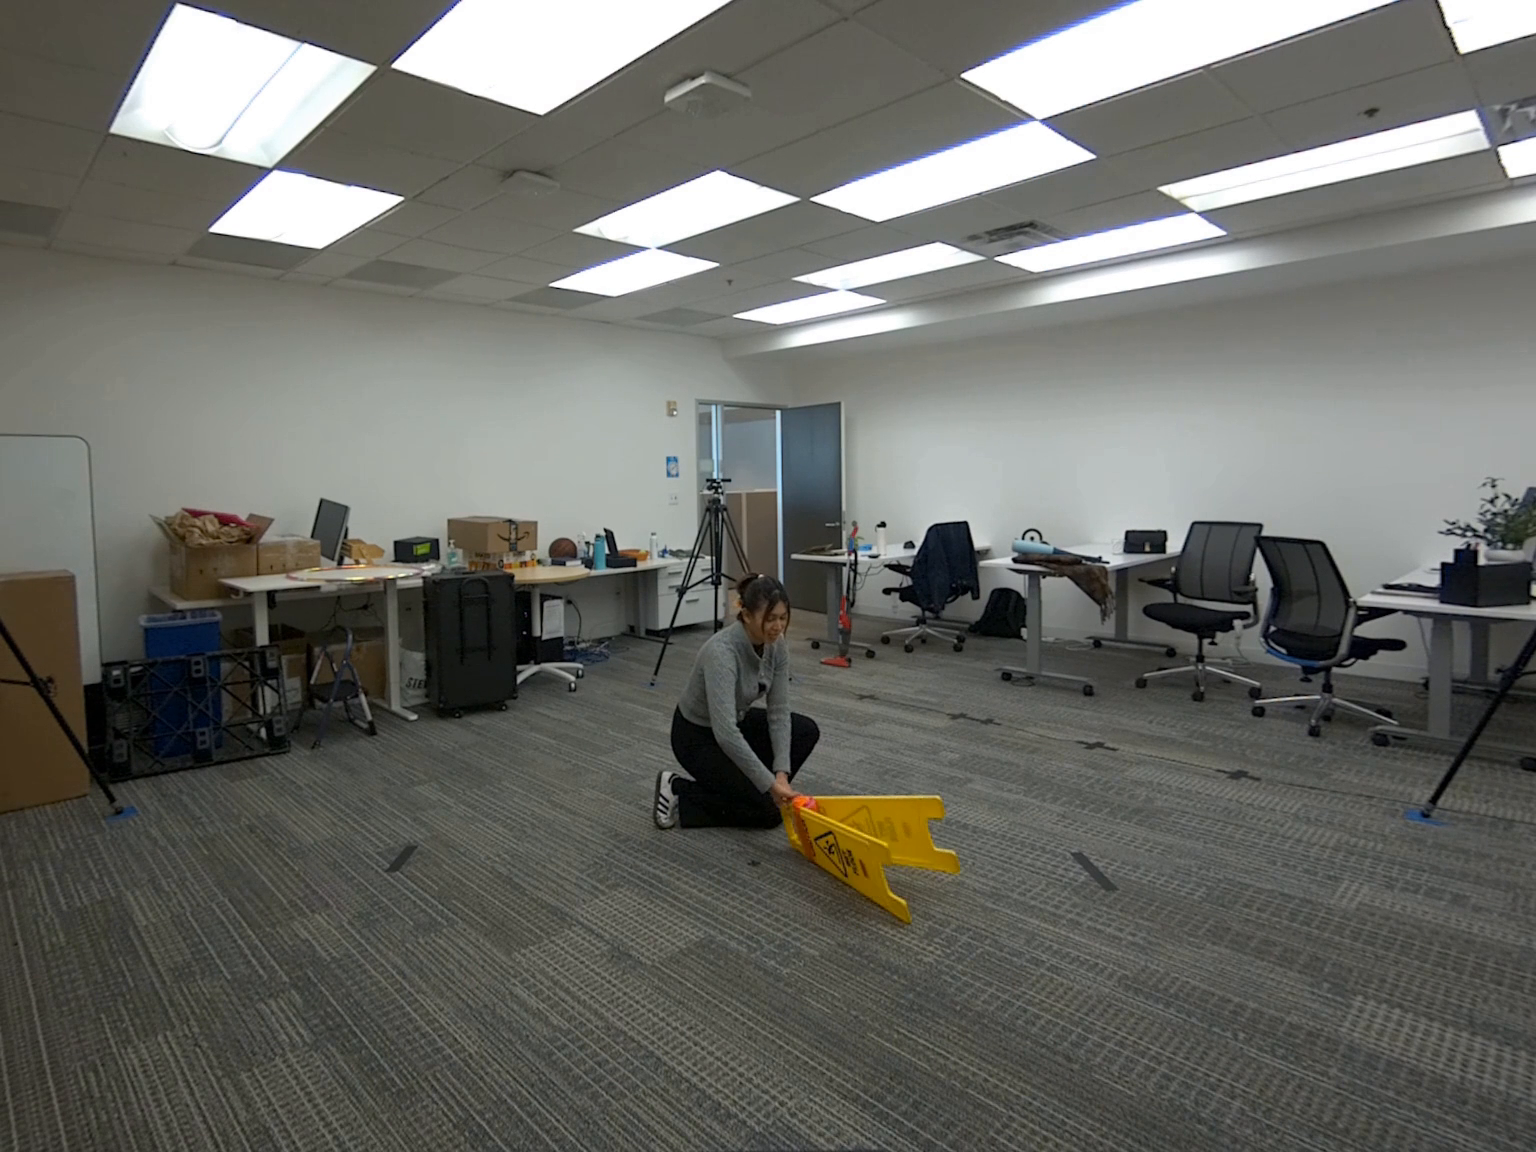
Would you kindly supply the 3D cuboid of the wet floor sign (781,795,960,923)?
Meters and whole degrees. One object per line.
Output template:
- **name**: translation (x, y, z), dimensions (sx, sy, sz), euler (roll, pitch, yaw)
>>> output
- **wet floor sign**: translation (0.283, 0.918, 2.973), dimensions (0.285, 0.279, 0.663), euler (-25, 14, -39)
